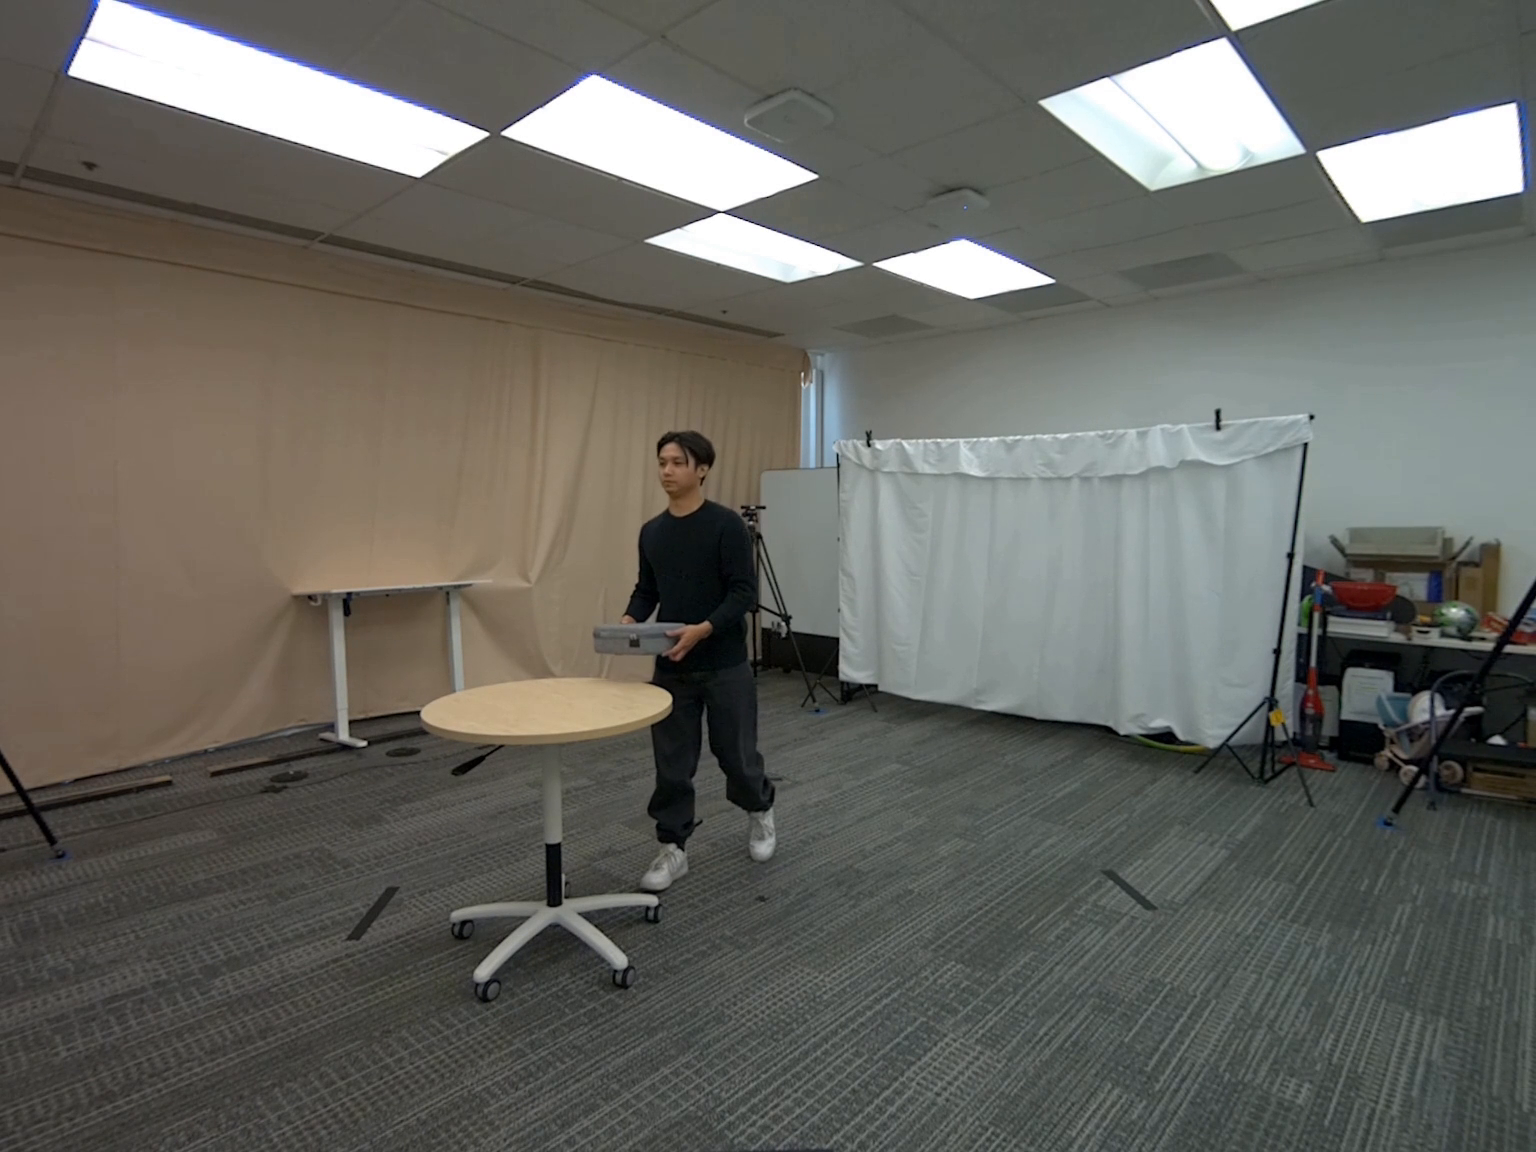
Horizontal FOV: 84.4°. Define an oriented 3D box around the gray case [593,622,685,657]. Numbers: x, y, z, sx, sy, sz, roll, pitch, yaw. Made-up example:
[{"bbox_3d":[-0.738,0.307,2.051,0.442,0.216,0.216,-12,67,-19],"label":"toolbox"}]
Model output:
[{"bbox_3d":[-0.450,0.218,2.984,0.265,0.104,0.252,-1,-1,37],"label":"gray case"}]
